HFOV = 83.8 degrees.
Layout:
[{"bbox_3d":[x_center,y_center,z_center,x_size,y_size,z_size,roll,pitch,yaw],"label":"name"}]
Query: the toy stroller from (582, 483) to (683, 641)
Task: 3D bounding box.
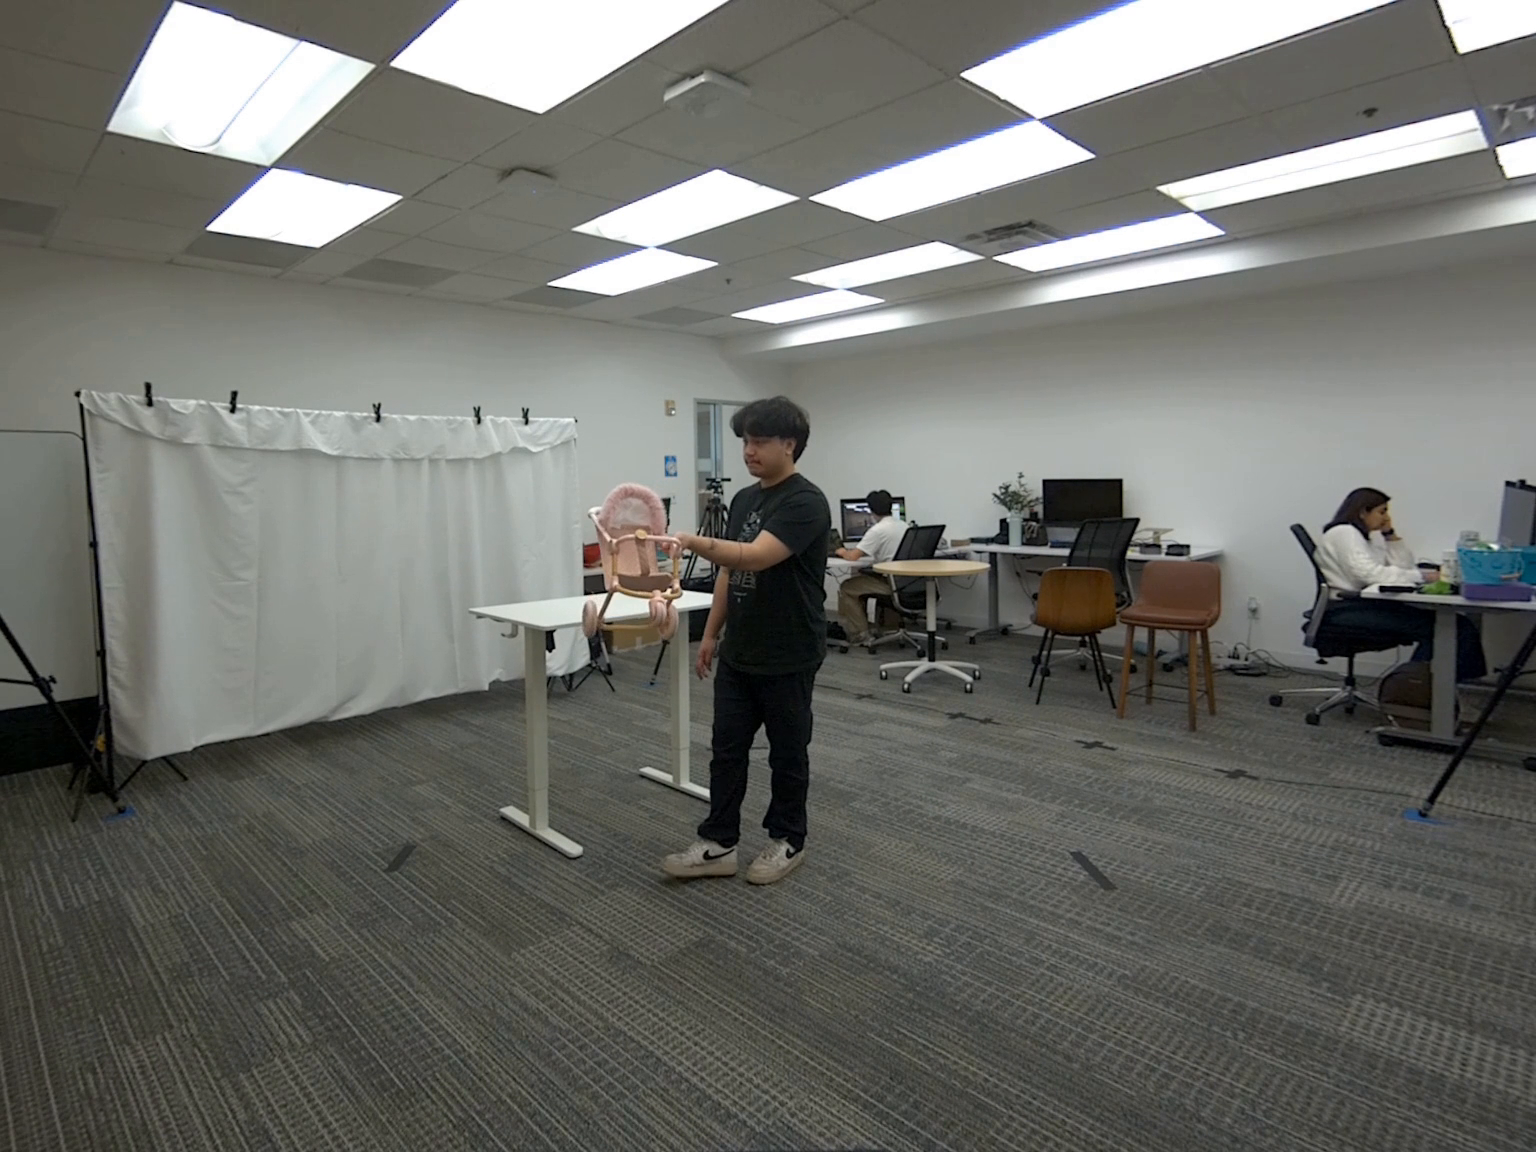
[{"bbox_3d":[-0.394,-0.052,2.547,0.276,0.548,0.339,2,-28,-21],"label":"toy stroller"}]
